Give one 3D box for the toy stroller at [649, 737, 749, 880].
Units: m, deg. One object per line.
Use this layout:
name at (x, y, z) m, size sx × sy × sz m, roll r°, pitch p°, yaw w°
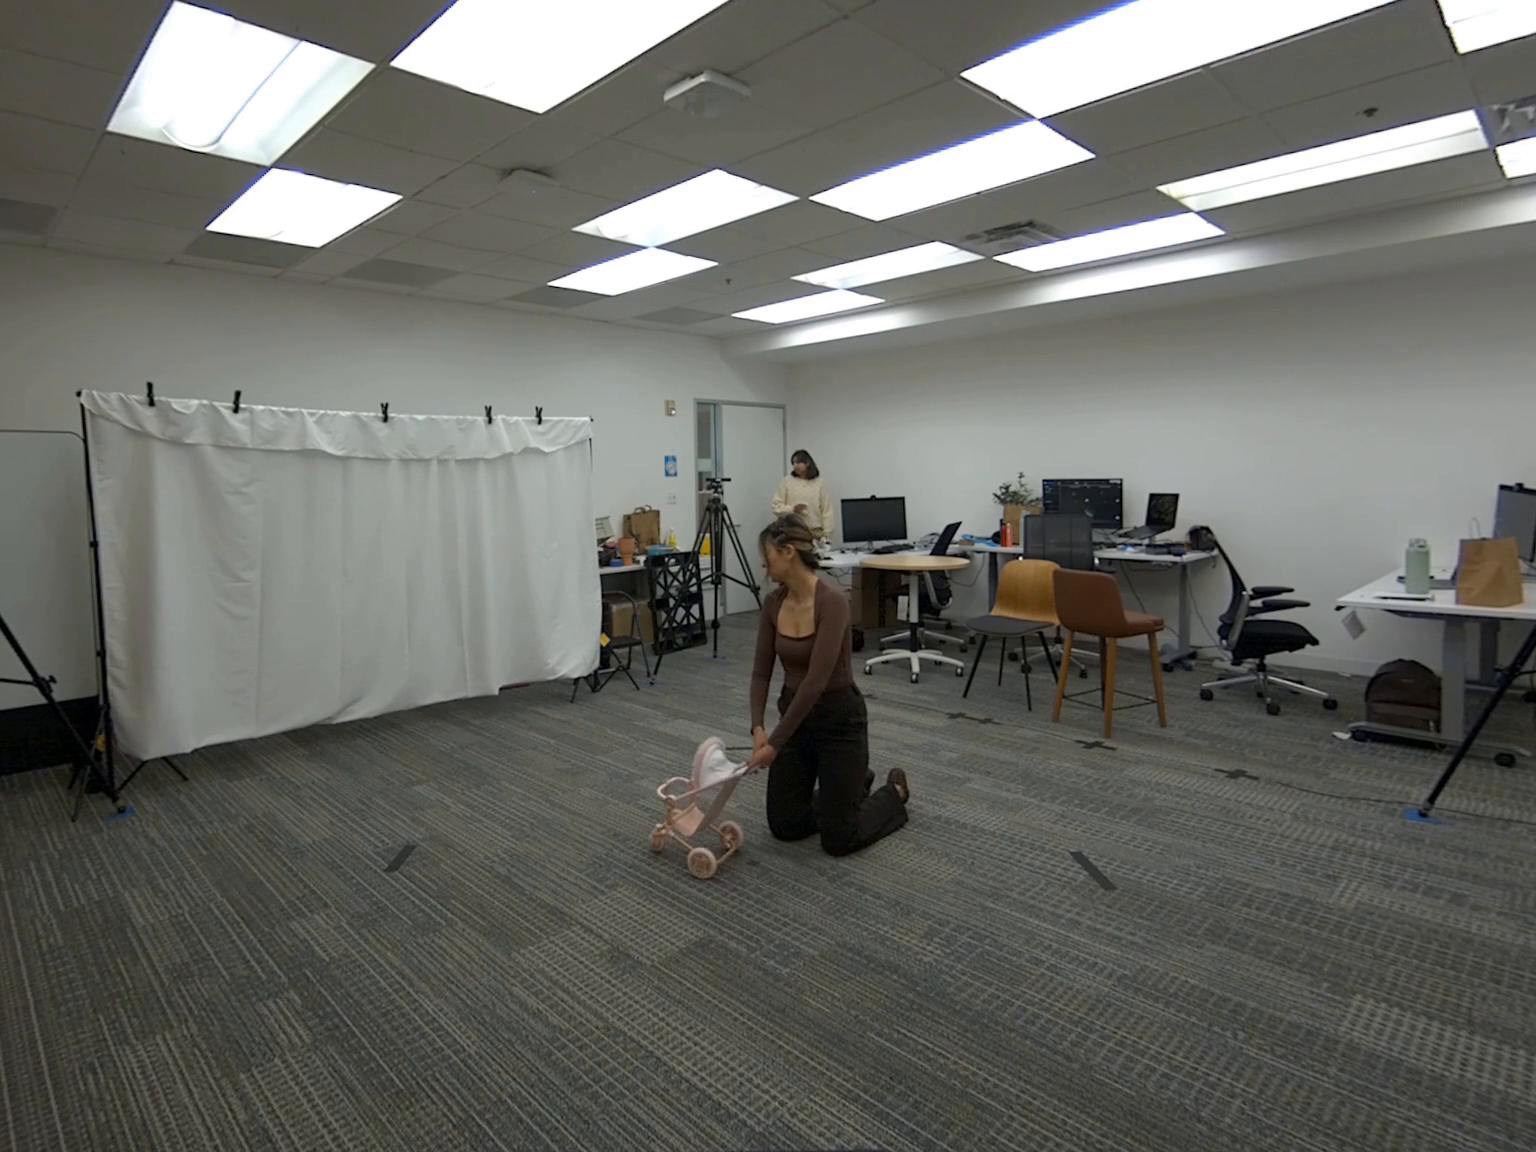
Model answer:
toy stroller at (-0.233, 0.821, 3.117) m, size 0.352 × 0.531 × 0.275 m, roll 23°, pitch 13°, yaw 26°
